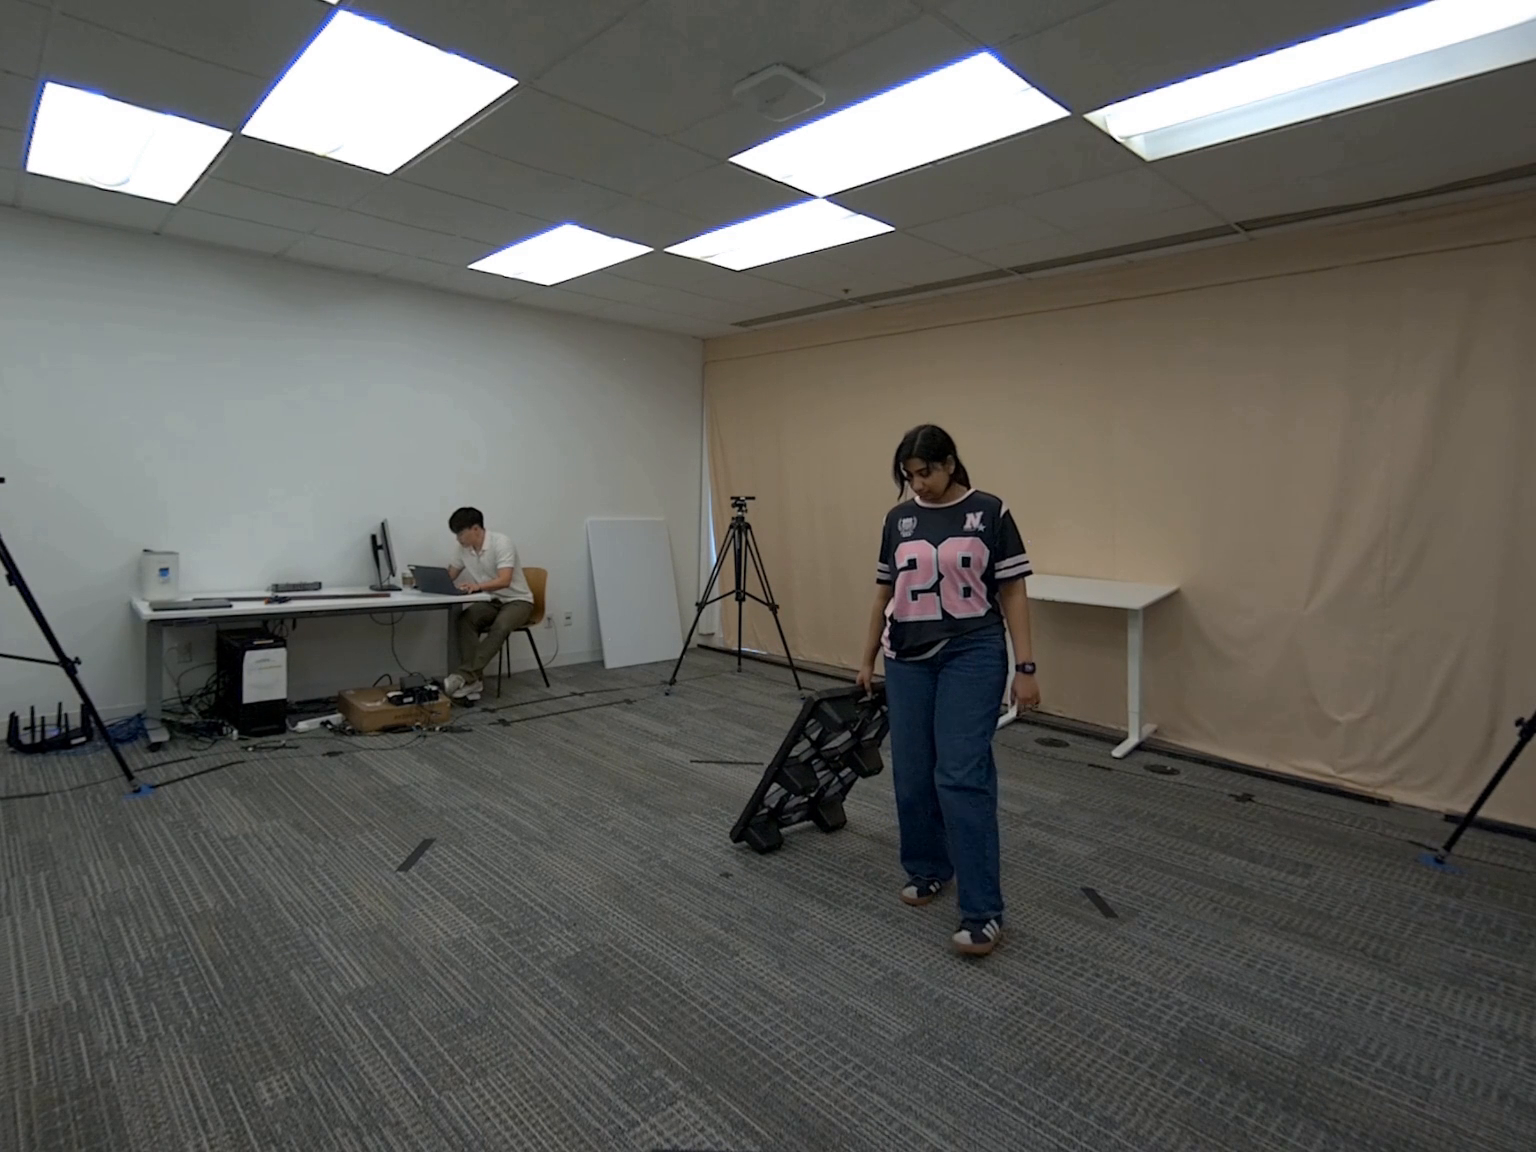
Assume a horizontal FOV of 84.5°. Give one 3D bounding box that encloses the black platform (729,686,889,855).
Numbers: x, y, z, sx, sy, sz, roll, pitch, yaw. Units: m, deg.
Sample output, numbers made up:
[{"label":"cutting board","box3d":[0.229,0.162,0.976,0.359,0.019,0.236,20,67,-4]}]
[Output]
[{"label":"black platform","box3d":[0.247,0.754,3.303,0.591,0.799,0.148,-1,38,-40]}]
